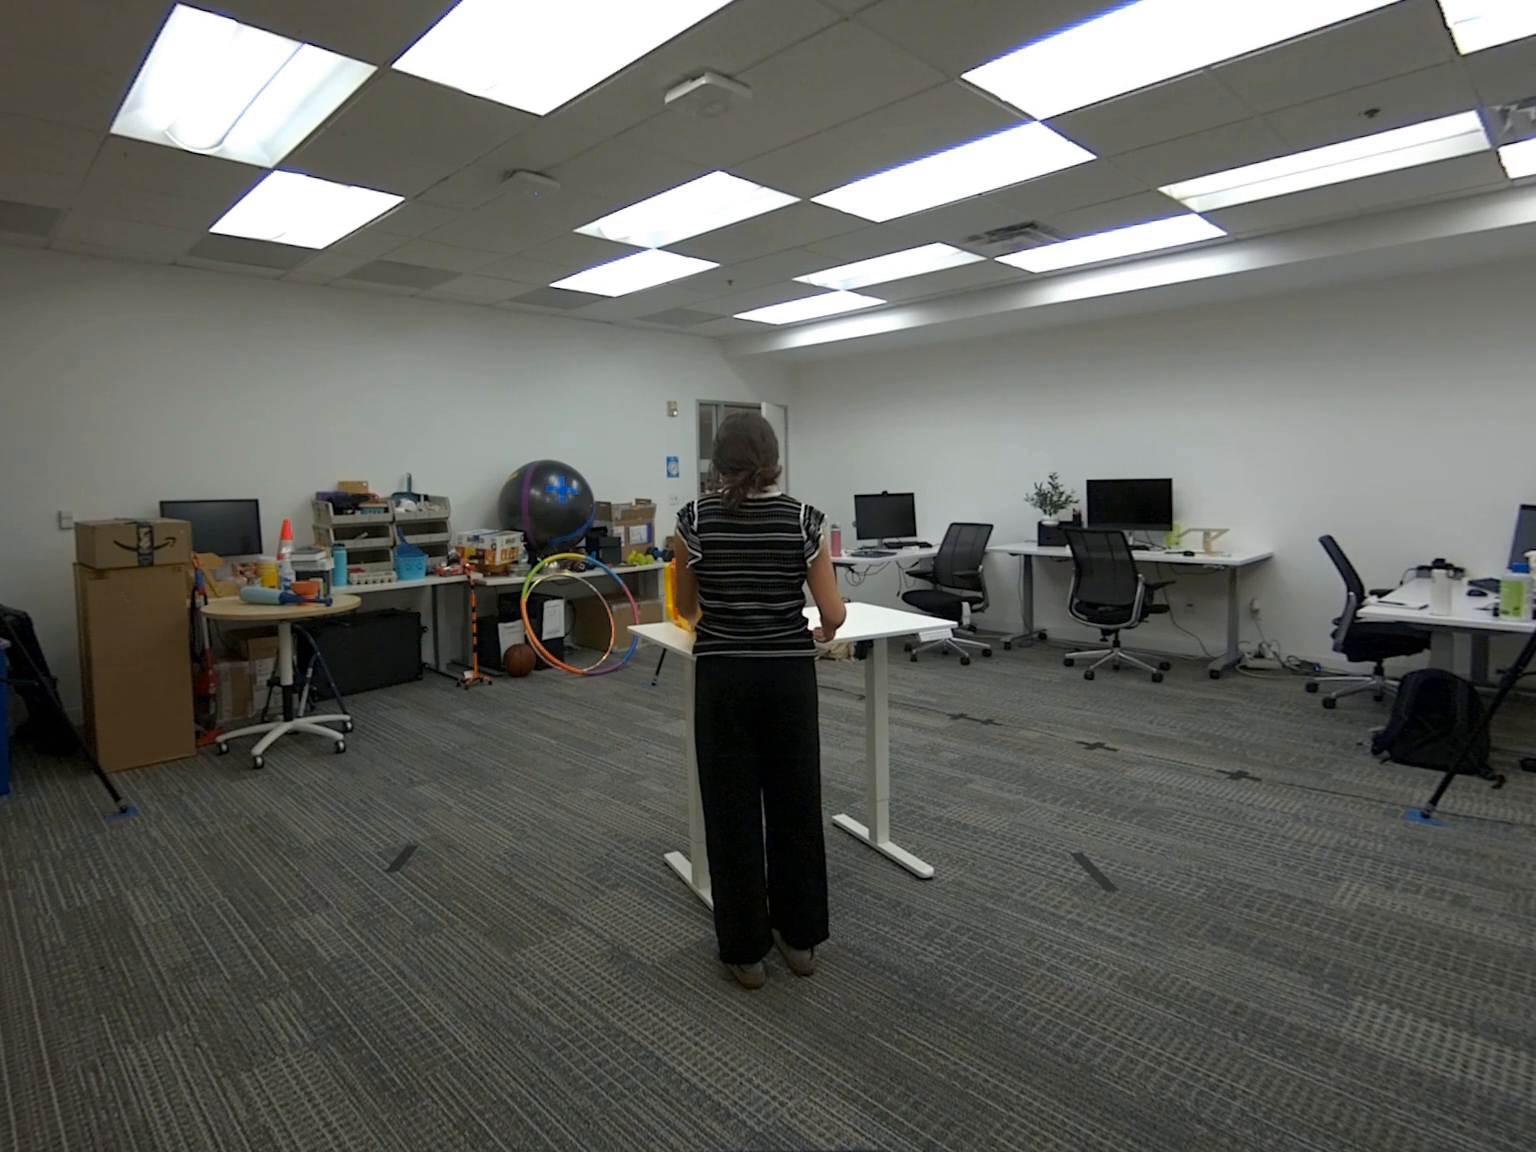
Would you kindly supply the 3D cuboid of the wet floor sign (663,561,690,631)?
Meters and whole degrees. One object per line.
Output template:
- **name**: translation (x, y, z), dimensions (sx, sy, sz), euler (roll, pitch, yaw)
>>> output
- **wet floor sign**: translation (-0.193, 0.069, 2.884), dimensions (0.283, 0.282, 0.663), euler (-5, 4, -33)
